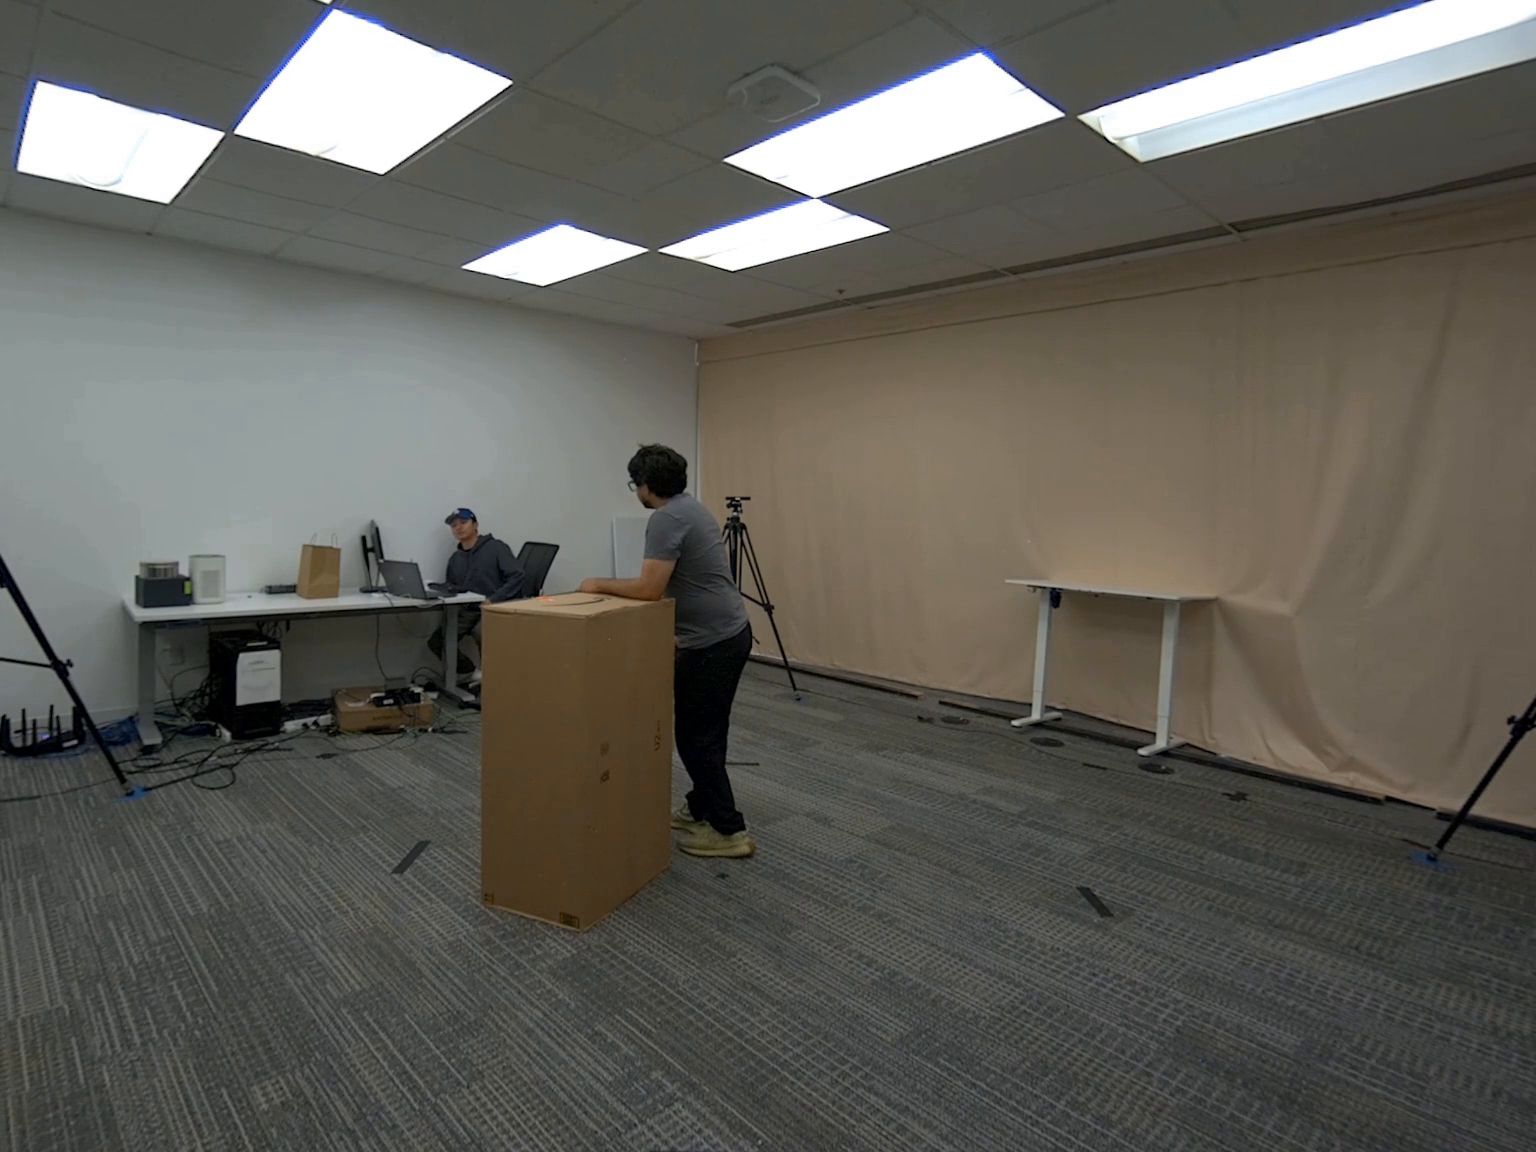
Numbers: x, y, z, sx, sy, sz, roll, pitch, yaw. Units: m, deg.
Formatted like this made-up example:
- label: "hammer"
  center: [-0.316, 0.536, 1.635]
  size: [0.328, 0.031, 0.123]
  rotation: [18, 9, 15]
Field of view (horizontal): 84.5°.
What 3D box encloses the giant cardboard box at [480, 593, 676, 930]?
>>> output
- label: "giant cardboard box"
  center: [-0.672, 0.599, 2.986]
  size: [0.434, 1.023, 0.568]
  rotation: [3, 4, 25]
